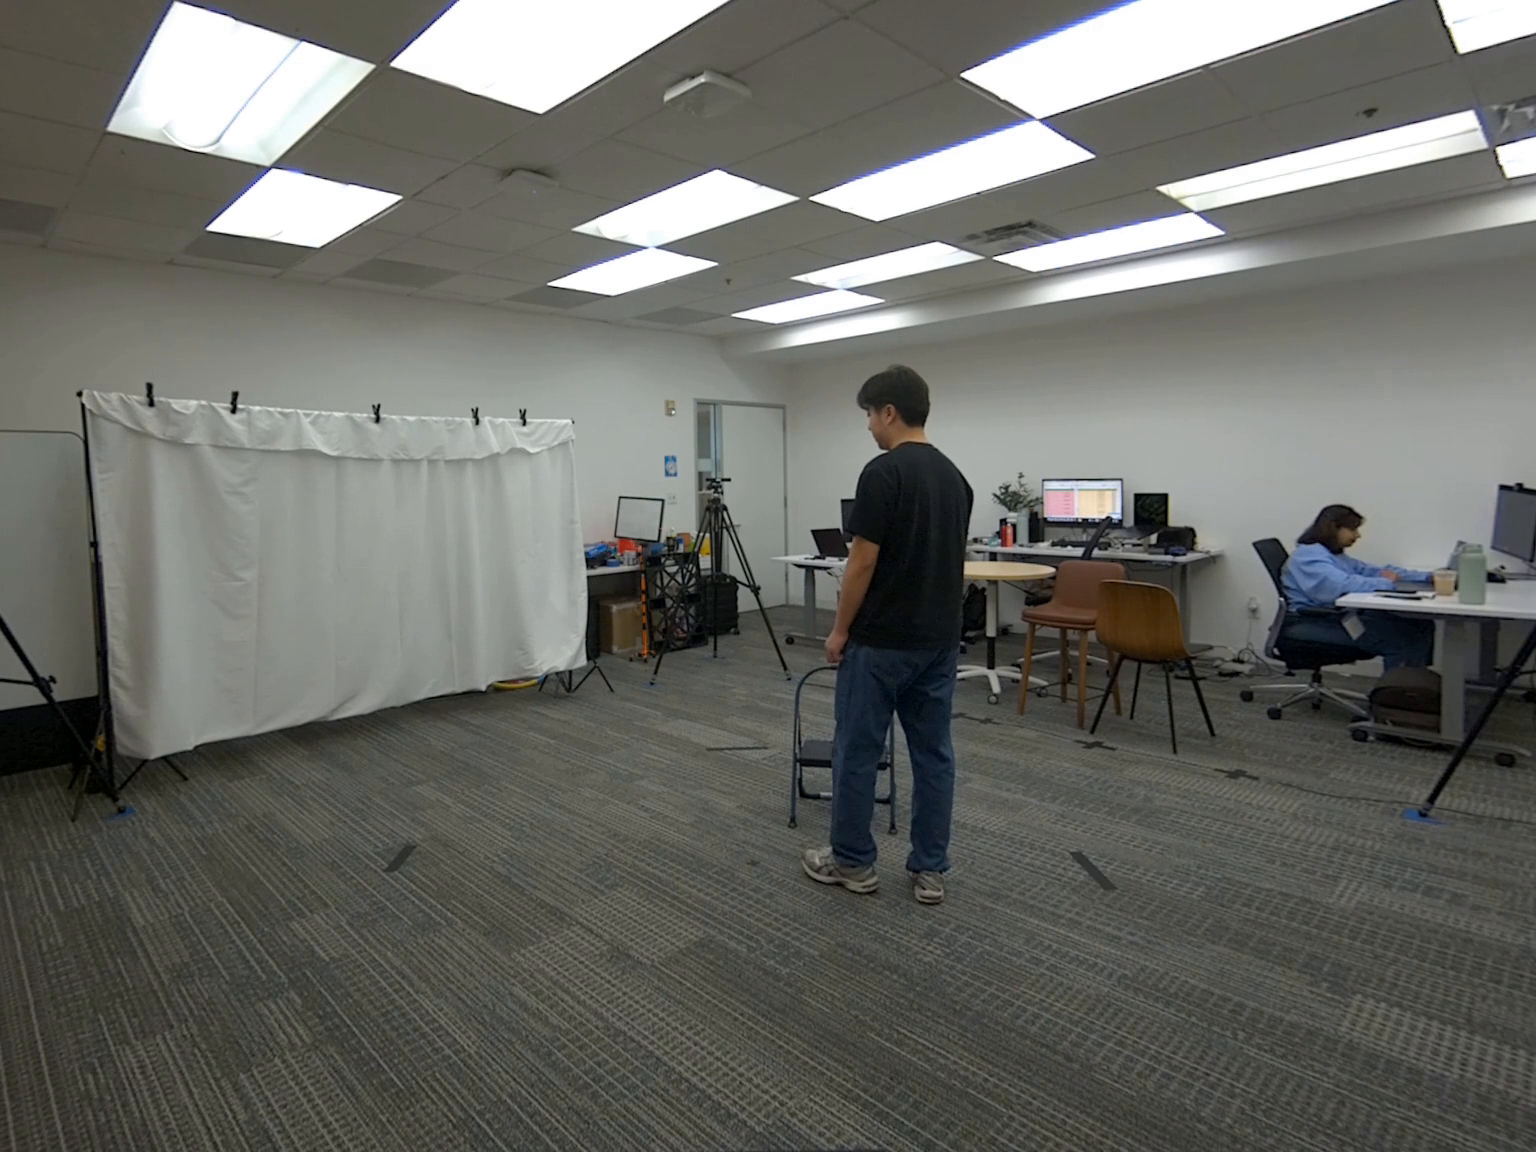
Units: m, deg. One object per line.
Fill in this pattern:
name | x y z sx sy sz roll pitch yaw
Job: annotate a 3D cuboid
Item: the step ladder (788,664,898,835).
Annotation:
step ladder | 0.311 0.685 3.523 0.435 0.604 0.347 0 5 10
